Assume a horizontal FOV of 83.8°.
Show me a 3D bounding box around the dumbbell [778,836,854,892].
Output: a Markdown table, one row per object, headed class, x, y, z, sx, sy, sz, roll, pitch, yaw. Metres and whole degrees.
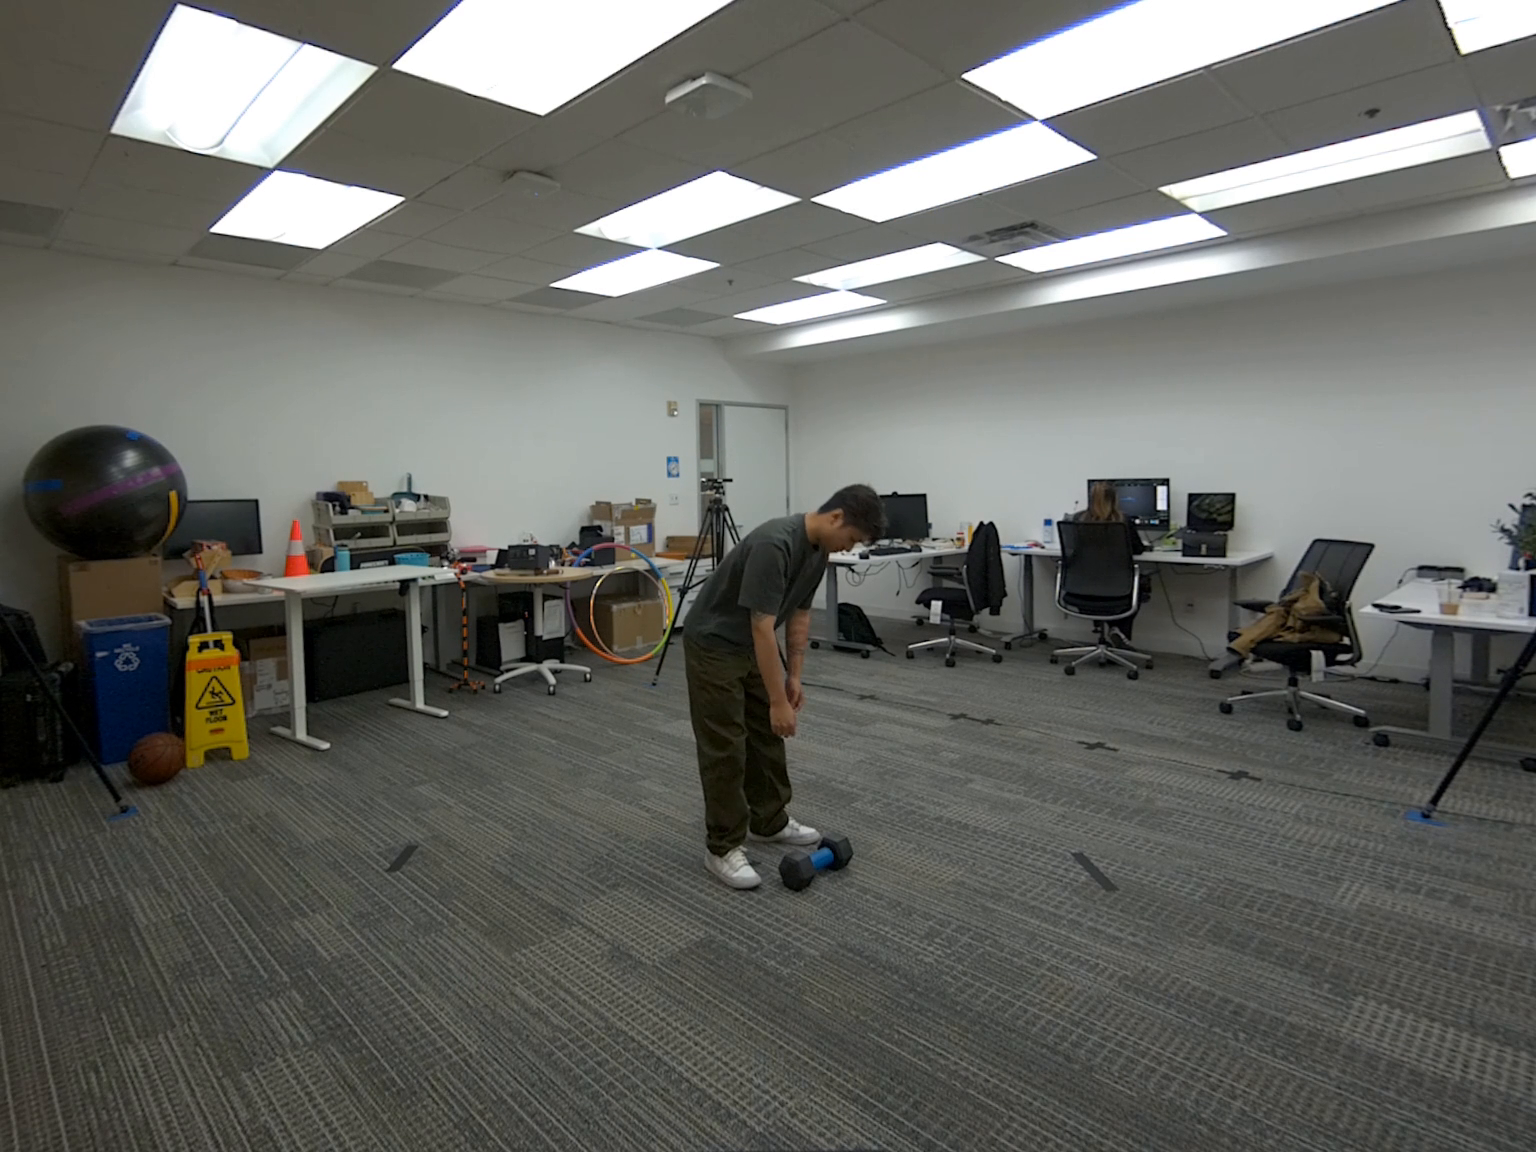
| class | x | y | z | sx | sy | sz | roll | pitch | yaw |
| --- | --- | --- | --- | --- | --- | --- | --- | --- | --- |
| dumbbell | 0.171 | 0.995 | 2.998 | 0.286 | 0.121 | 0.113 | -6 | 39 | -45 |
